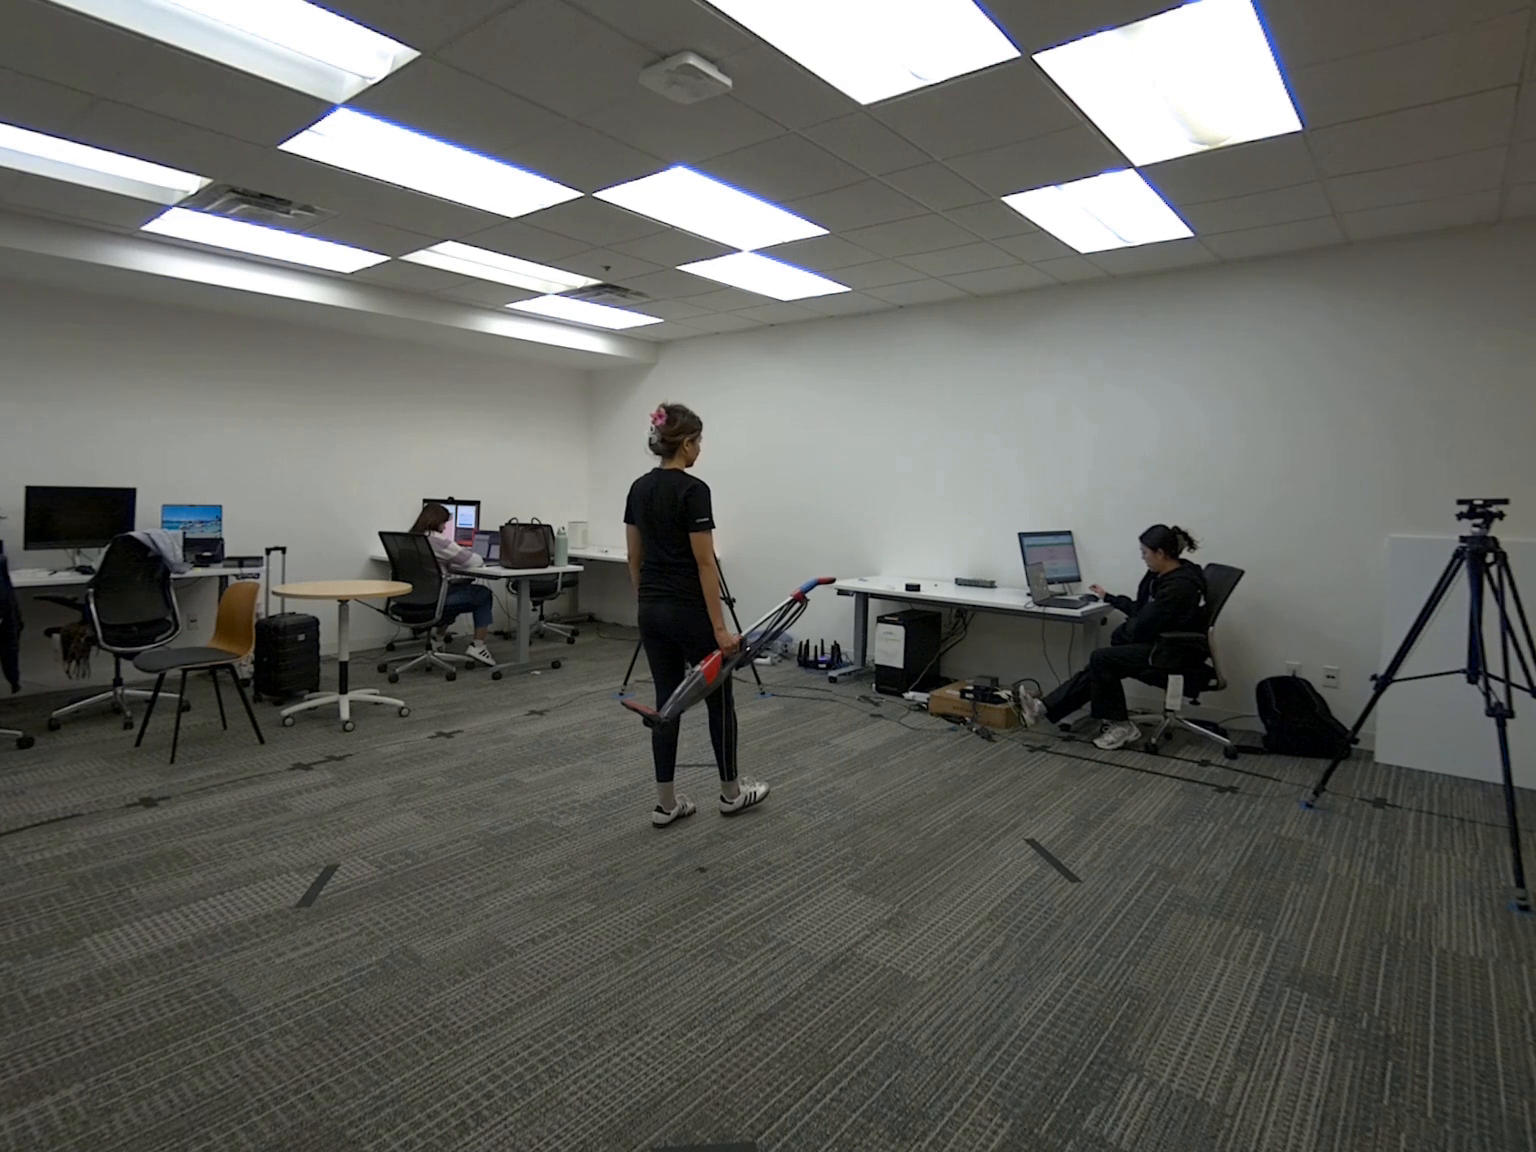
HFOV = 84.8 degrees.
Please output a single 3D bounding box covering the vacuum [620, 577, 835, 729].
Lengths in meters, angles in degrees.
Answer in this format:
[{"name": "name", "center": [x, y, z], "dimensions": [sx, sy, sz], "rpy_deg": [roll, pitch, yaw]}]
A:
[{"name": "vacuum", "center": [-0.095, 0.281, 3.431], "dimensions": [1.040, 0.141, 0.260], "rpy_deg": [-35, 20, -28]}]
